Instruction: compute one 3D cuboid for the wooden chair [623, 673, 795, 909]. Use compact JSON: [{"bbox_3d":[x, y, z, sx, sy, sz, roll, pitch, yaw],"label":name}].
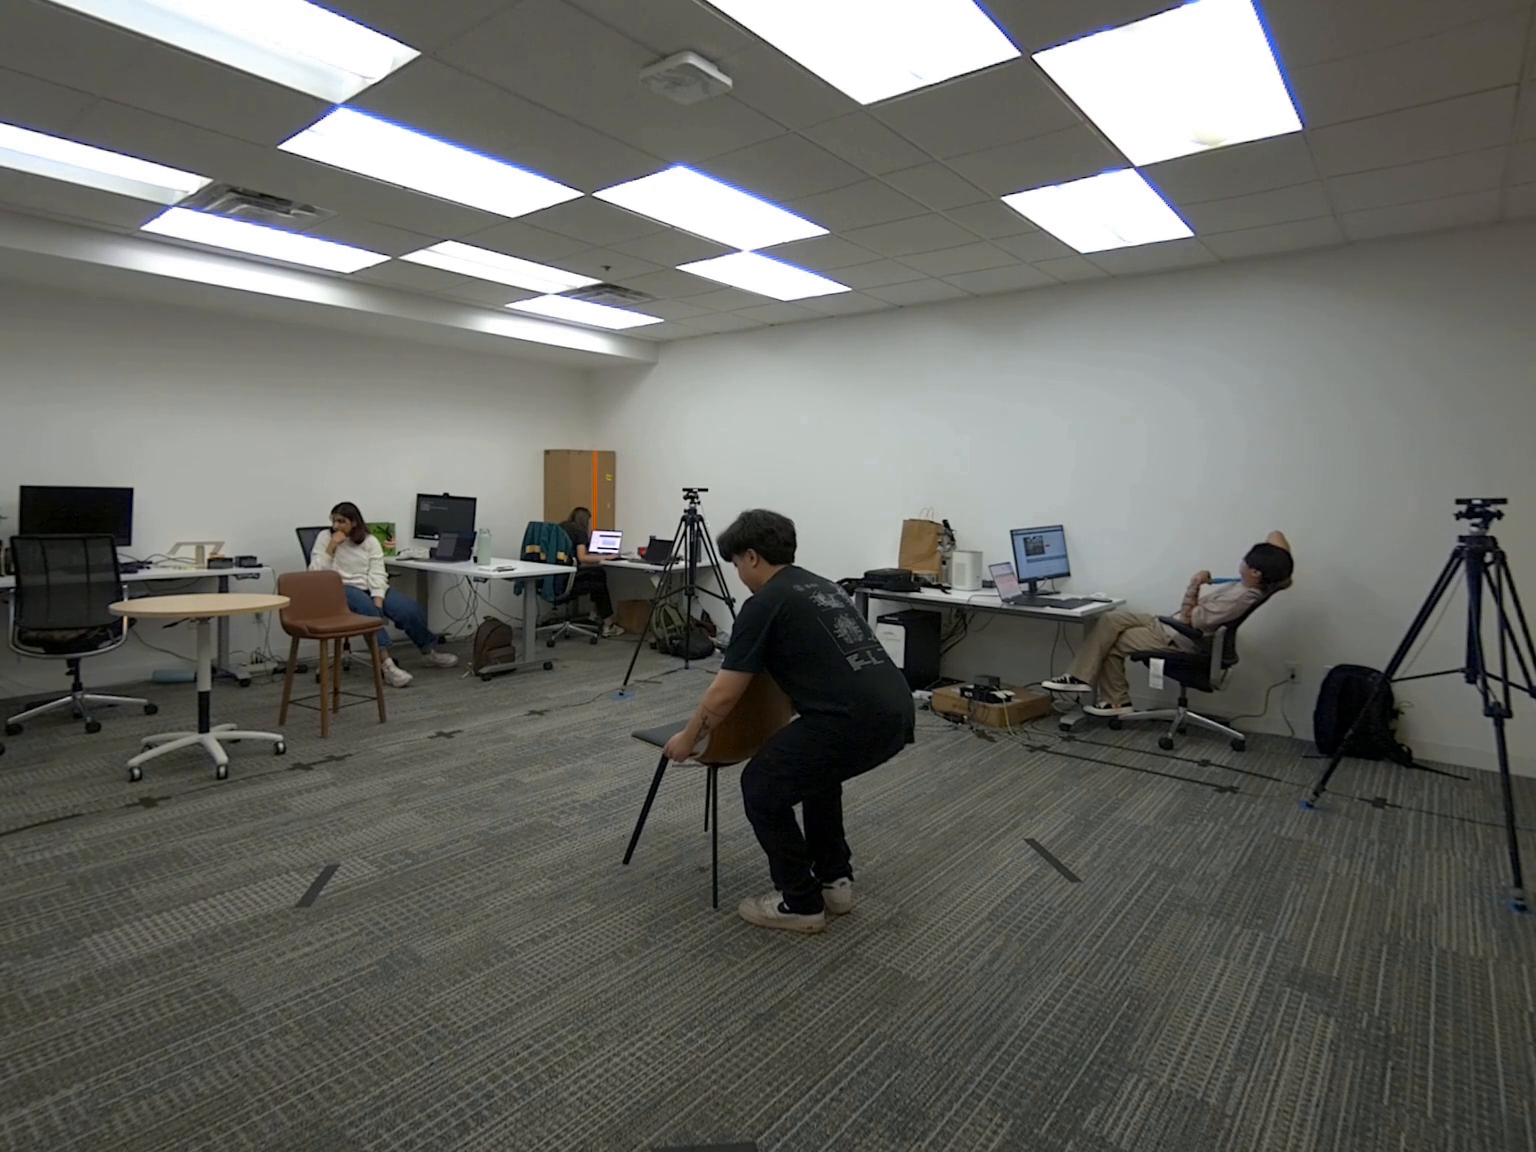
[{"bbox_3d":[-0.216,0.630,3.091,0.542,0.872,0.464,12,10,38],"label":"wooden chair"}]
